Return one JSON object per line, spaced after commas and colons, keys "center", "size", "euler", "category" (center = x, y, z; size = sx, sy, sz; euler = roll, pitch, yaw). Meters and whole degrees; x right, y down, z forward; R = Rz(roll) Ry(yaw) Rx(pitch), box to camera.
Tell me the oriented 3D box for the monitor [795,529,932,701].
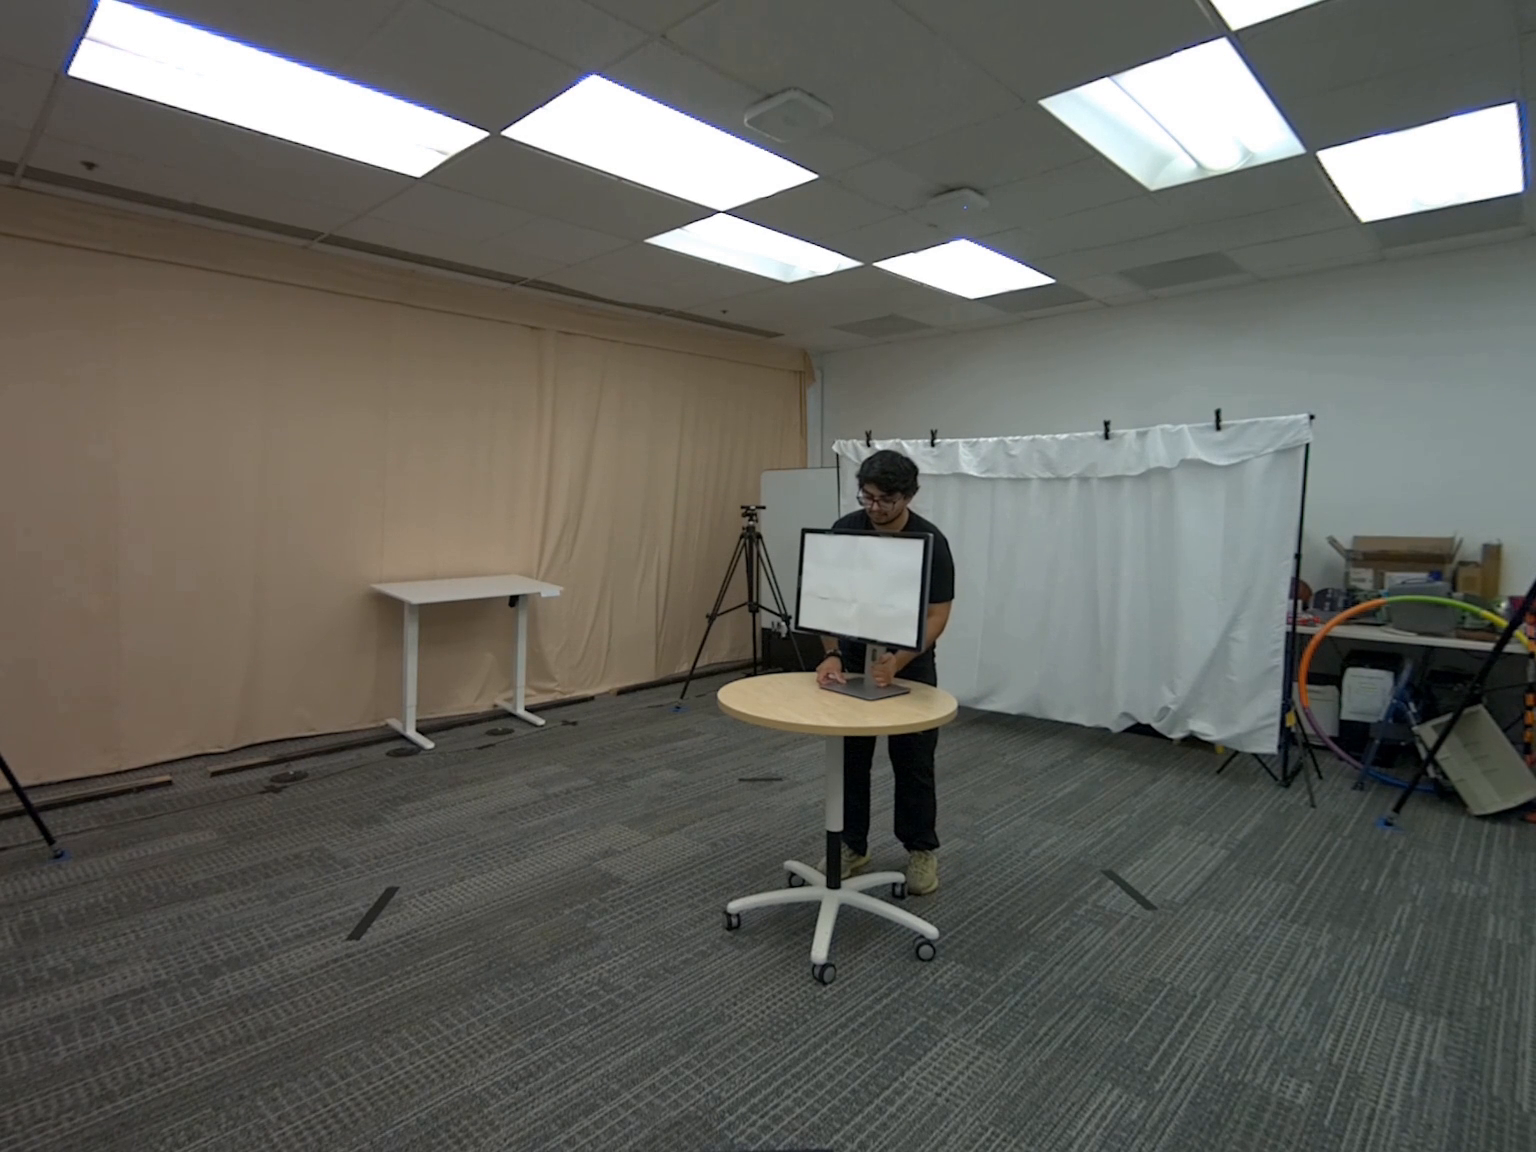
{"center": [0.351, 0.118, 2.812], "size": [0.204, 0.553, 0.584], "euler": [-1, 4, -39], "category": "monitor"}
